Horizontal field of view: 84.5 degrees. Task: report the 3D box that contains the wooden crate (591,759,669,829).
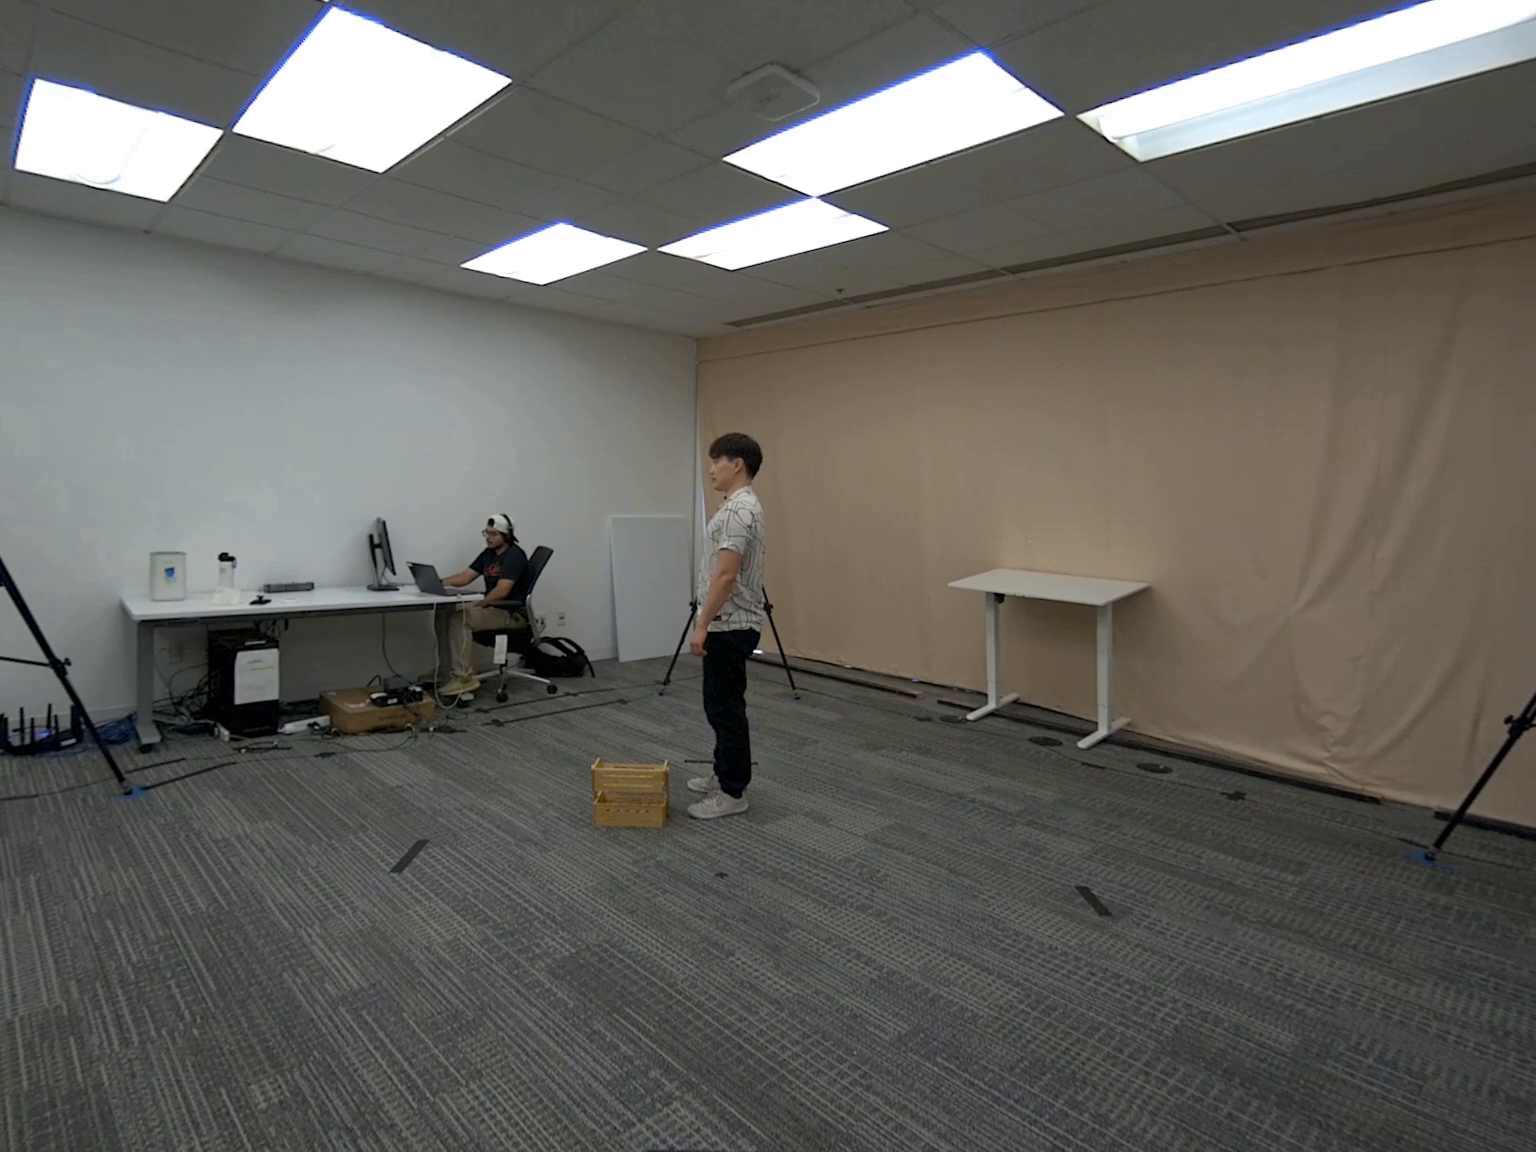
[{"bbox_3d":[-0.597,0.913,3.637,0.324,0.273,0.303,1,4,-3],"label":"wooden crate"}]
